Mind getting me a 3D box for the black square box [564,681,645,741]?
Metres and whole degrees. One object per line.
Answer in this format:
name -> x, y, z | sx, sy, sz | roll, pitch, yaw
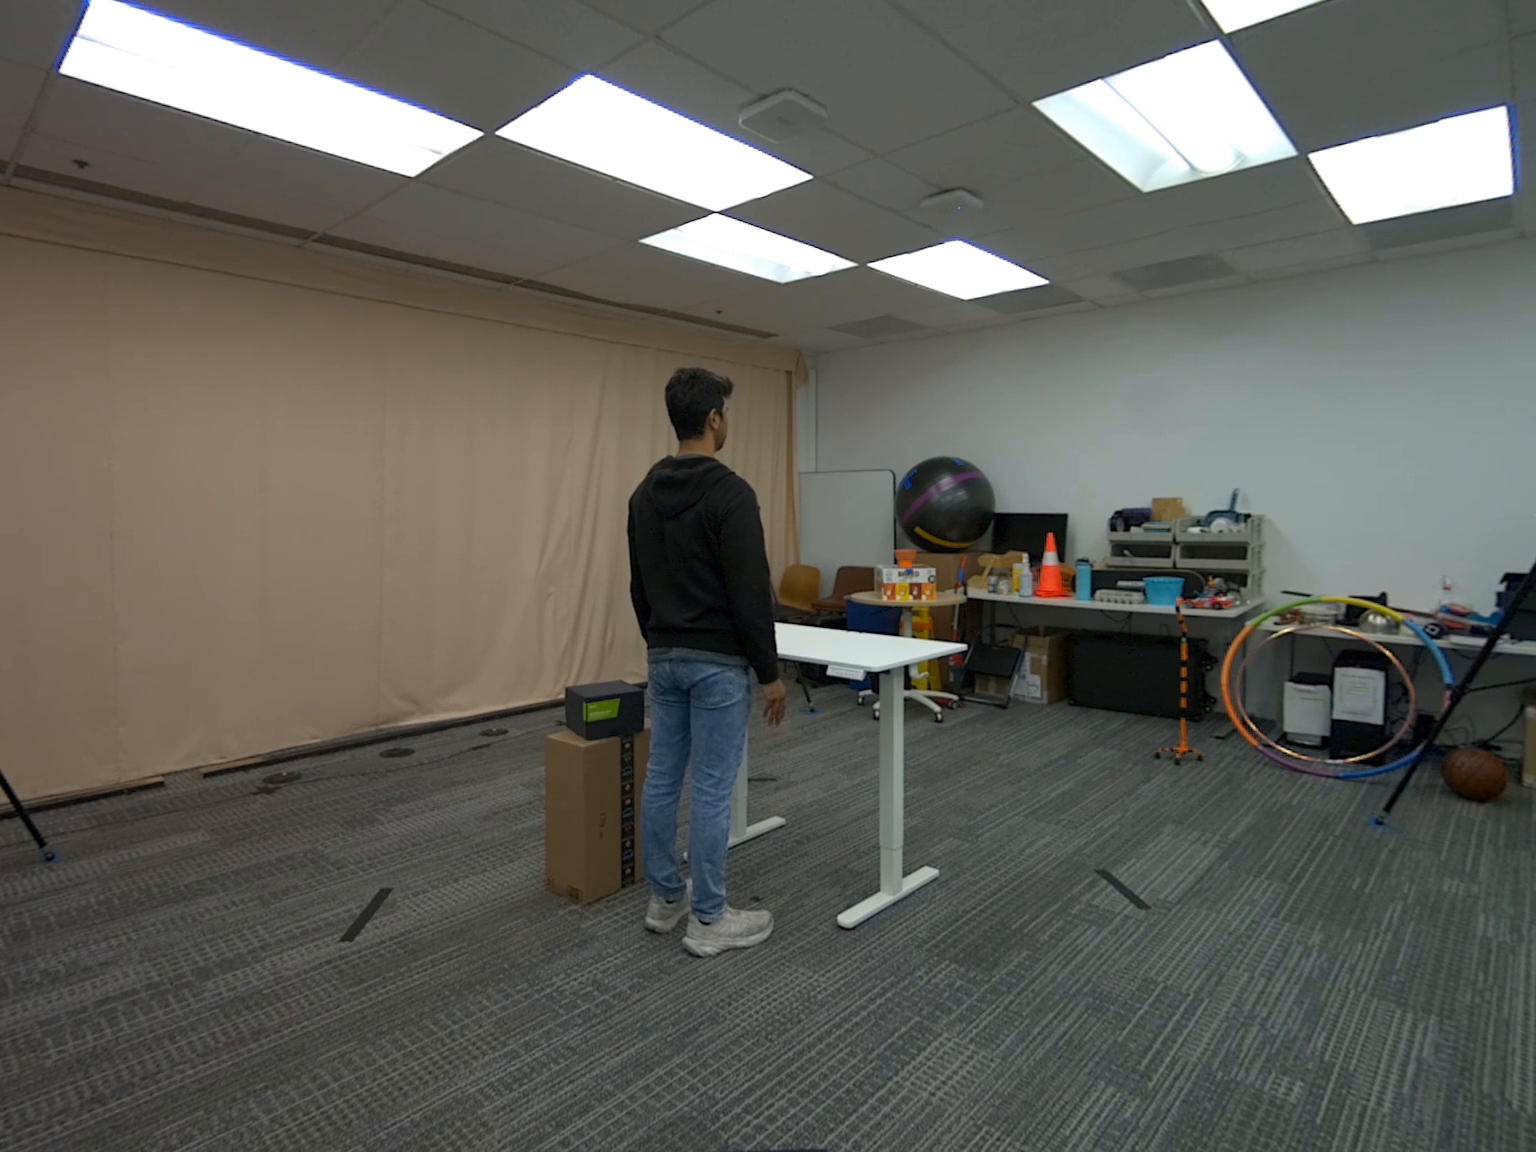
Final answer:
black square box -> -0.604, 0.495, 3.127 | 0.221, 0.155, 0.223 | -3, 5, -32
